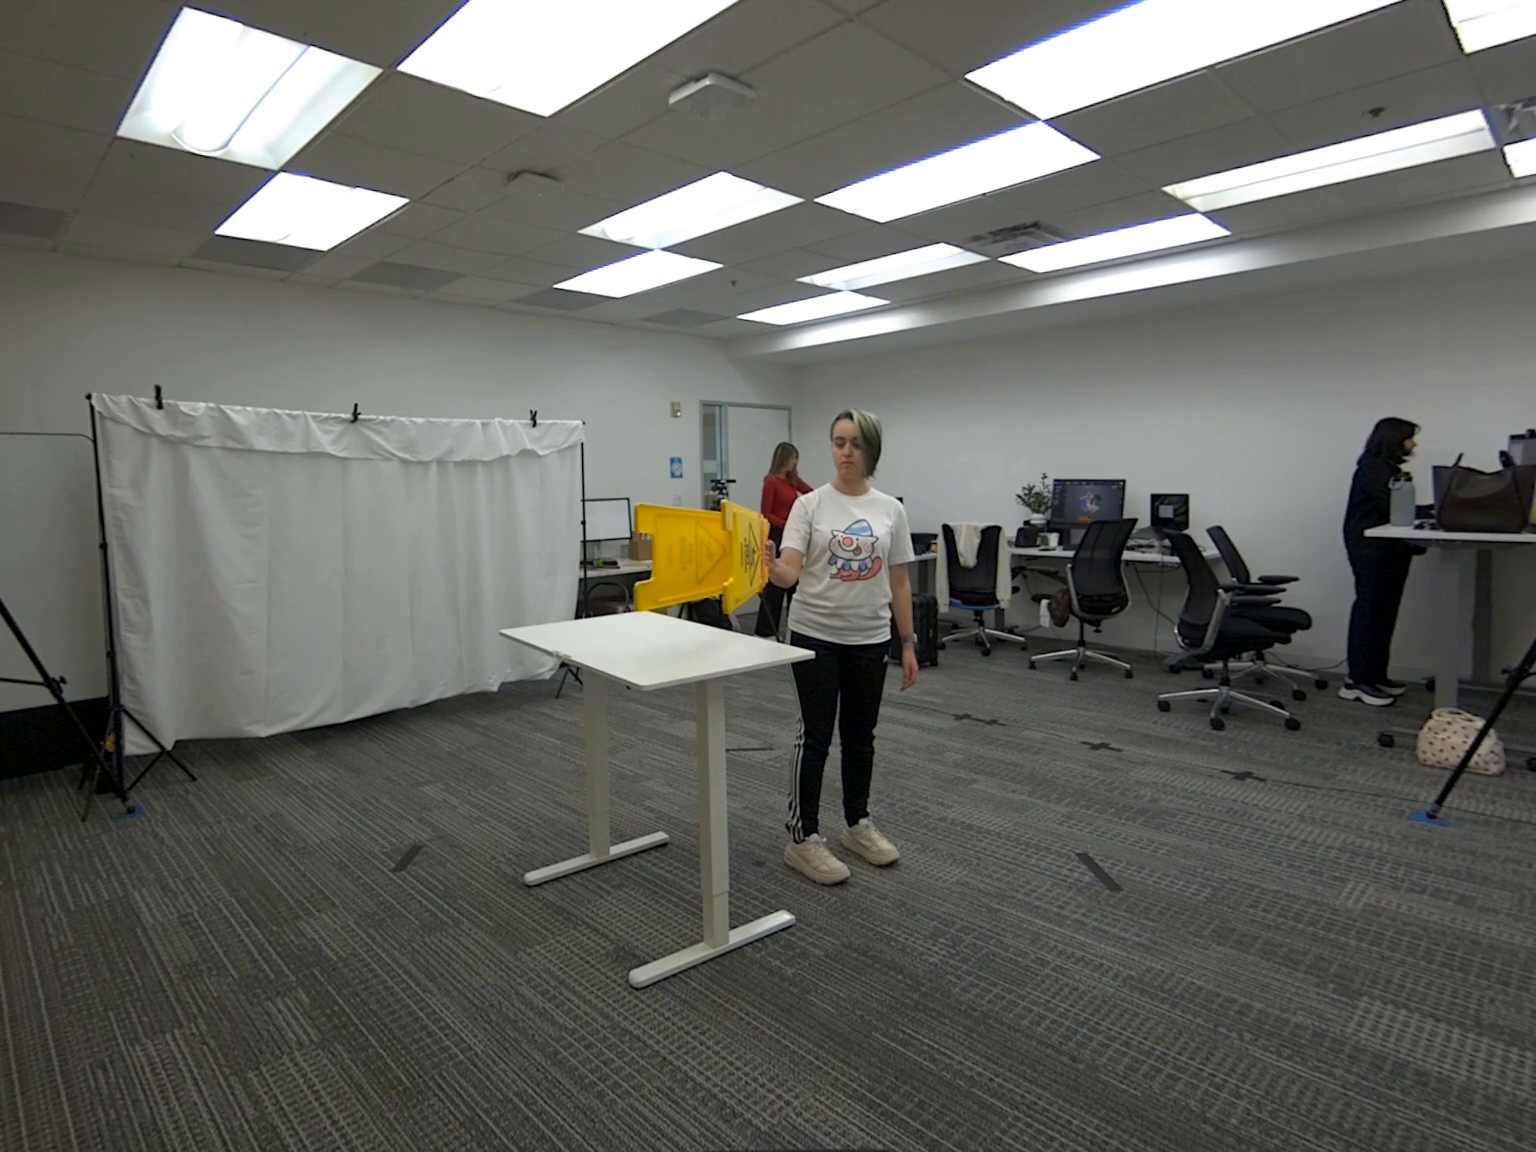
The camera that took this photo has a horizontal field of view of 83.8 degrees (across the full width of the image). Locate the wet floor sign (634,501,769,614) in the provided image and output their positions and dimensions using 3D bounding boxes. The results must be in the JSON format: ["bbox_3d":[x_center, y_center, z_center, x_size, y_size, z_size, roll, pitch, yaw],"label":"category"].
[{"bbox_3d":[-0.108,-0.057,2.430,0.295,0.282,0.635,1,3,19],"label":"wet floor sign"}]
